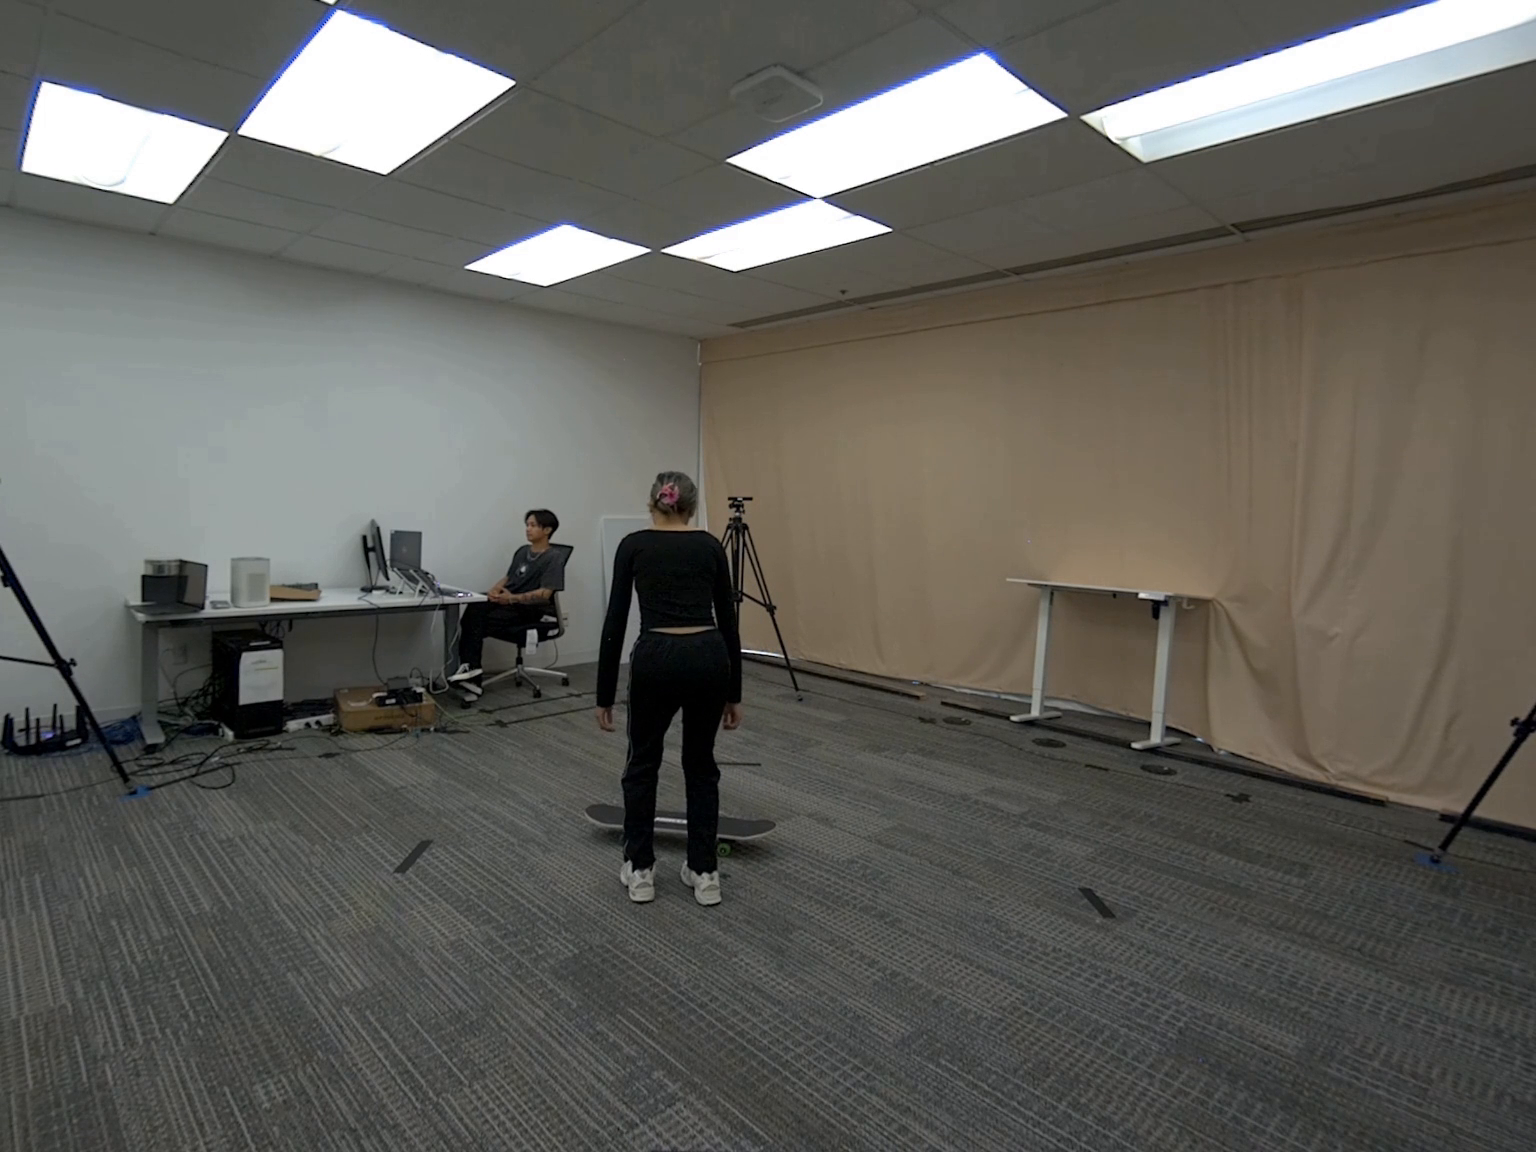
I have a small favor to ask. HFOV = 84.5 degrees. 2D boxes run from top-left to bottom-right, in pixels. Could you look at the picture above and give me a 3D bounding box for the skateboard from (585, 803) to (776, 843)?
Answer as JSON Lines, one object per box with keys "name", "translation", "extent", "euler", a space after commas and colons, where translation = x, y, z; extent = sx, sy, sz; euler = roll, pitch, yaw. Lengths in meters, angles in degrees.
{"name": "skateboard", "translation": [-0.362, 1.016, 3.387], "extent": [0.793, 0.110, 0.192], "euler": [3, 5, 11]}
